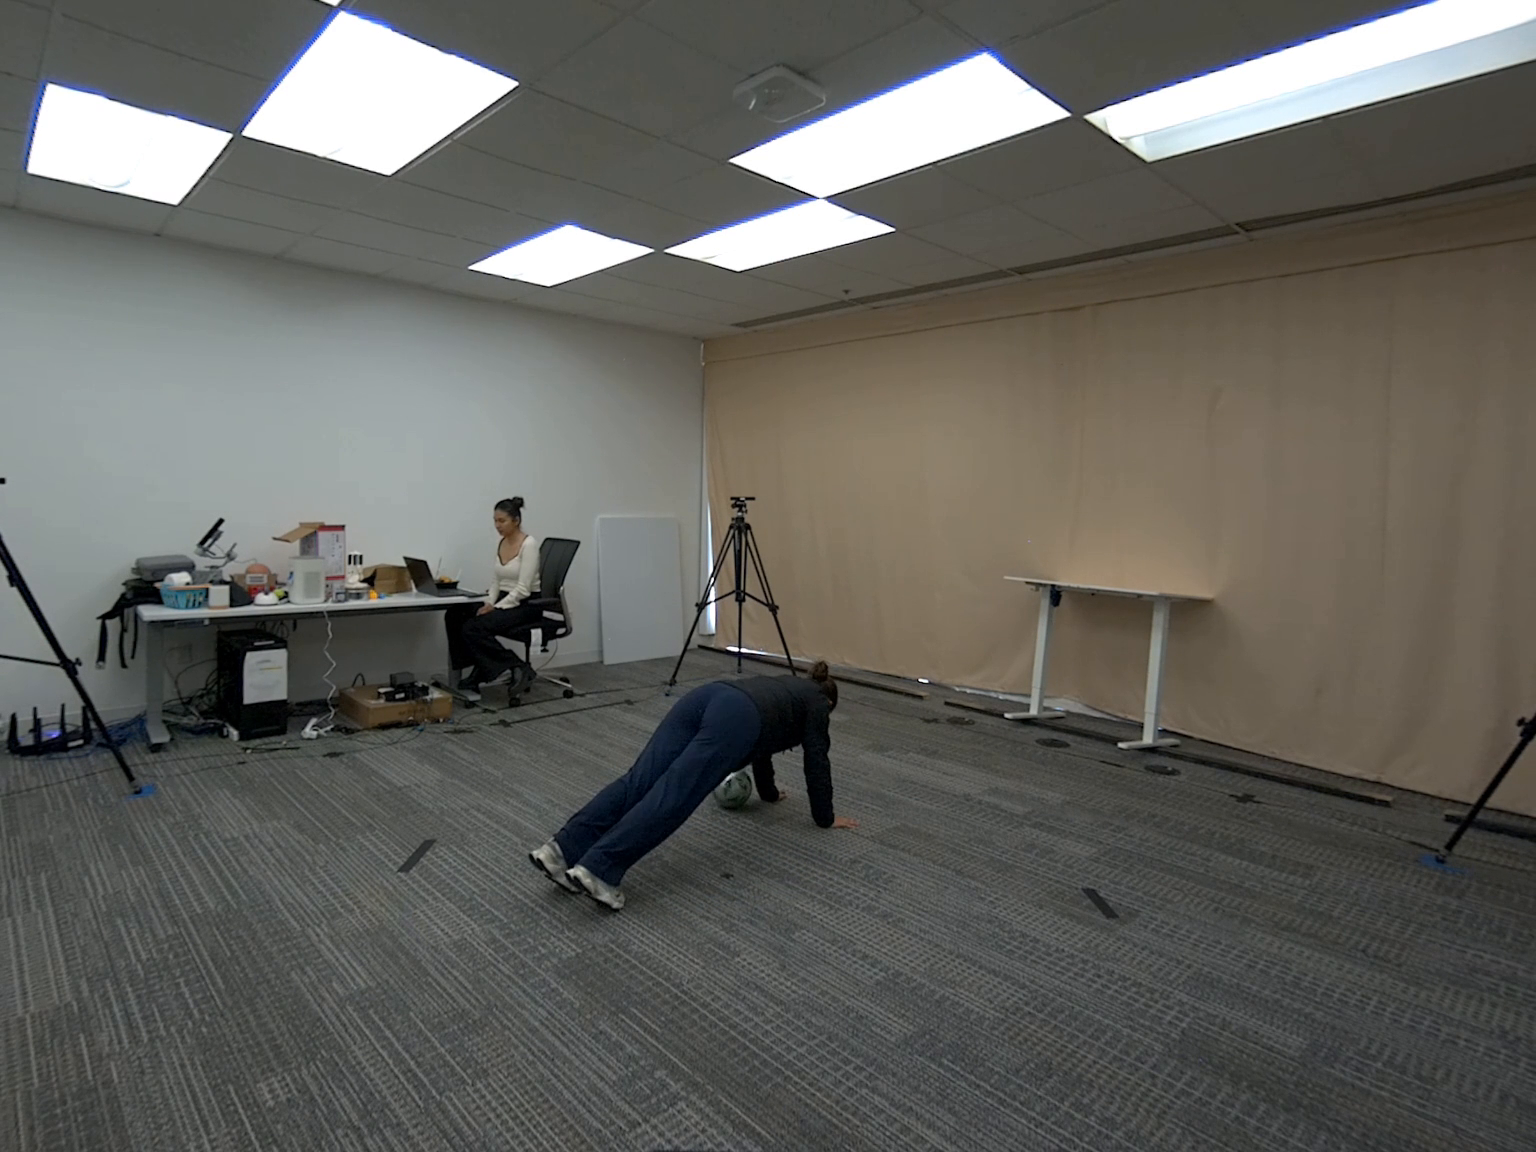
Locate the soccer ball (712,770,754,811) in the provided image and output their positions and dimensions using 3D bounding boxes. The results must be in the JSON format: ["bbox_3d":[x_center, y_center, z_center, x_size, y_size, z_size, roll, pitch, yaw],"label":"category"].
[{"bbox_3d":[-0.178,0.960,3.808,0.187,0.187,0.188,1,4,-1],"label":"soccer ball"}]
